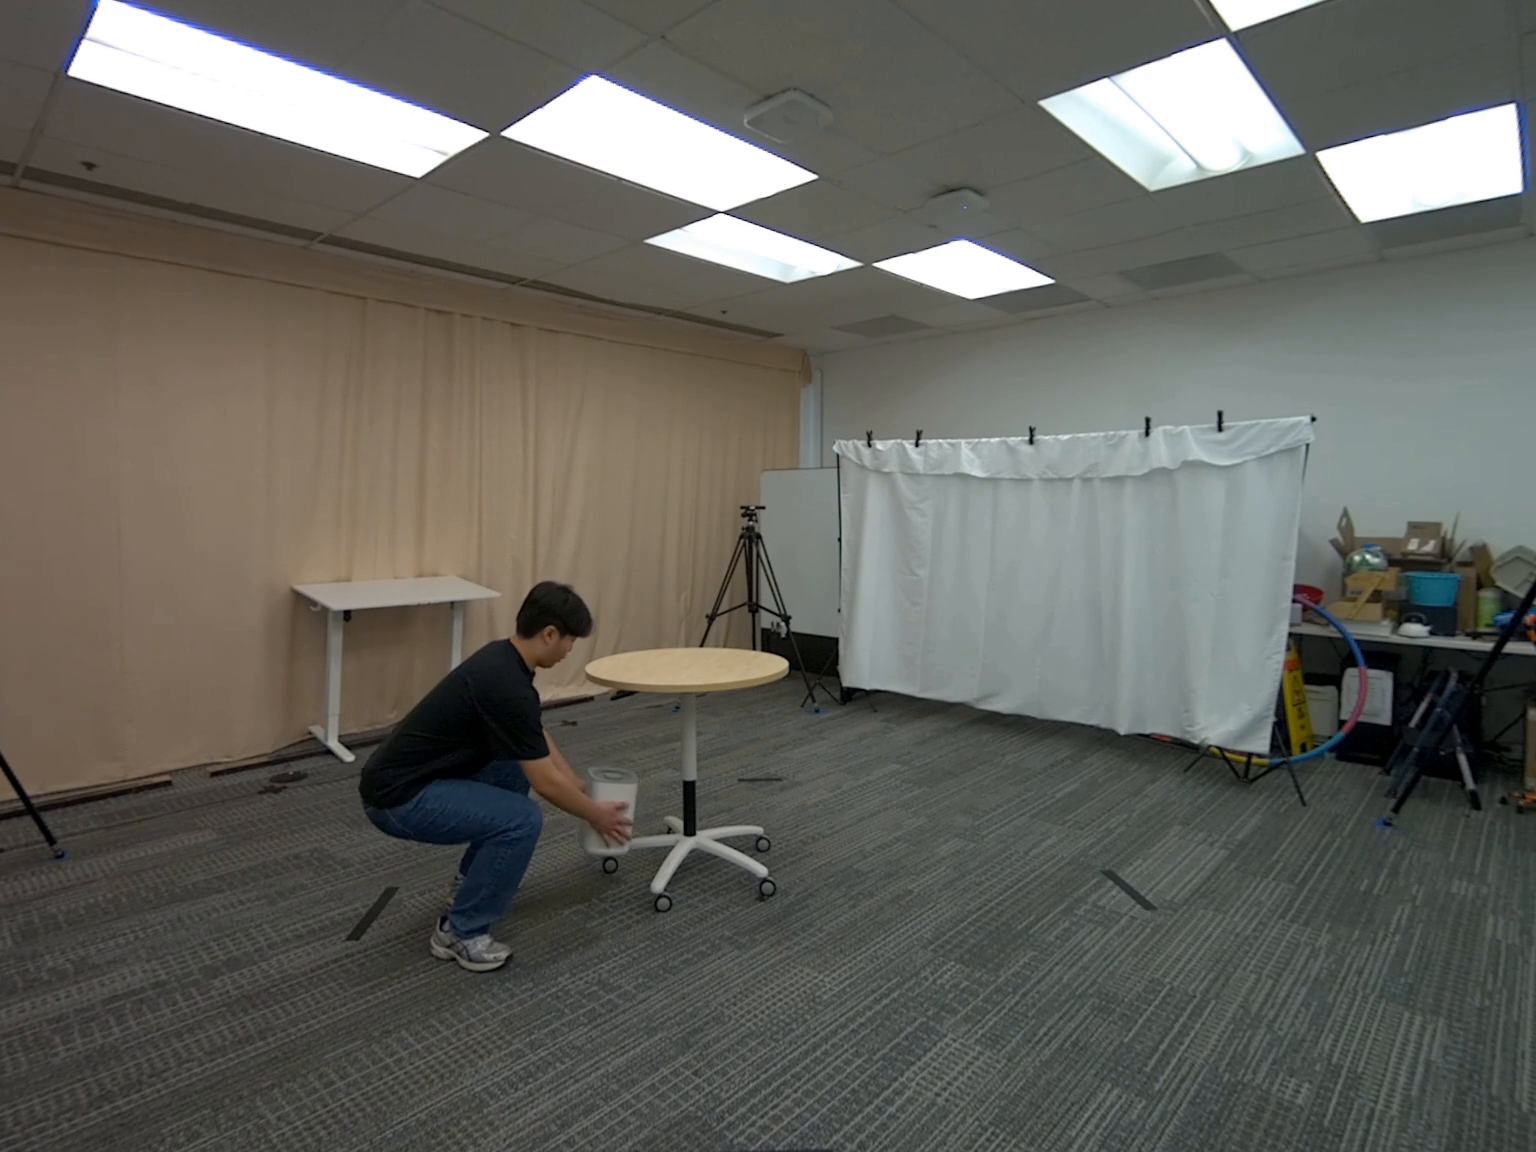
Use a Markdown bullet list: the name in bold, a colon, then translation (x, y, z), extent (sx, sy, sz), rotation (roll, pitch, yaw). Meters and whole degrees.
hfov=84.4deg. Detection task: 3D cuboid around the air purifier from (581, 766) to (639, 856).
- **air purifier**: translation (-0.562, 0.819, 2.929), extent (0.167, 0.265, 0.175), rotation (7, 1, -23)
